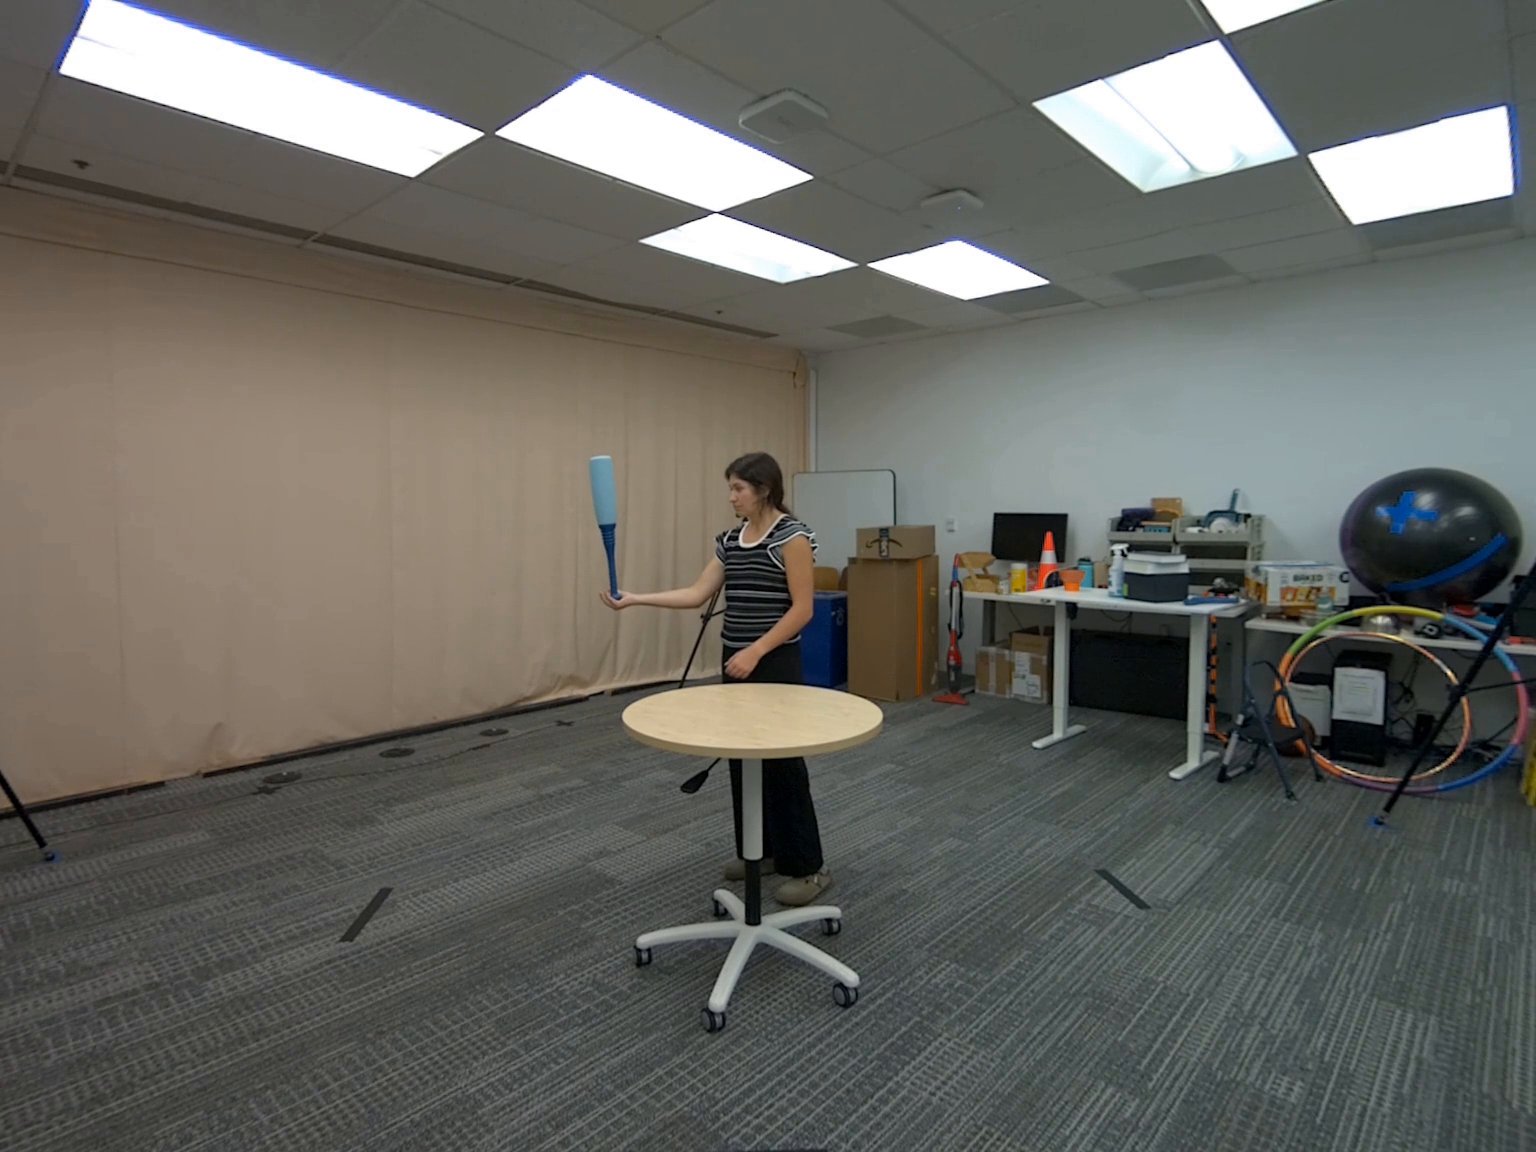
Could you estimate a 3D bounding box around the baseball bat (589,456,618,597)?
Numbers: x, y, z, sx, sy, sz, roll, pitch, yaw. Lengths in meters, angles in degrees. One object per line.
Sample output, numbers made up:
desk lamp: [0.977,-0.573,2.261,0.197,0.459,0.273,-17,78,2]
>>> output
baseball bat: [-0.599,-0.172,3.128,0.089,0.542,0.089,-5,3,-1]
